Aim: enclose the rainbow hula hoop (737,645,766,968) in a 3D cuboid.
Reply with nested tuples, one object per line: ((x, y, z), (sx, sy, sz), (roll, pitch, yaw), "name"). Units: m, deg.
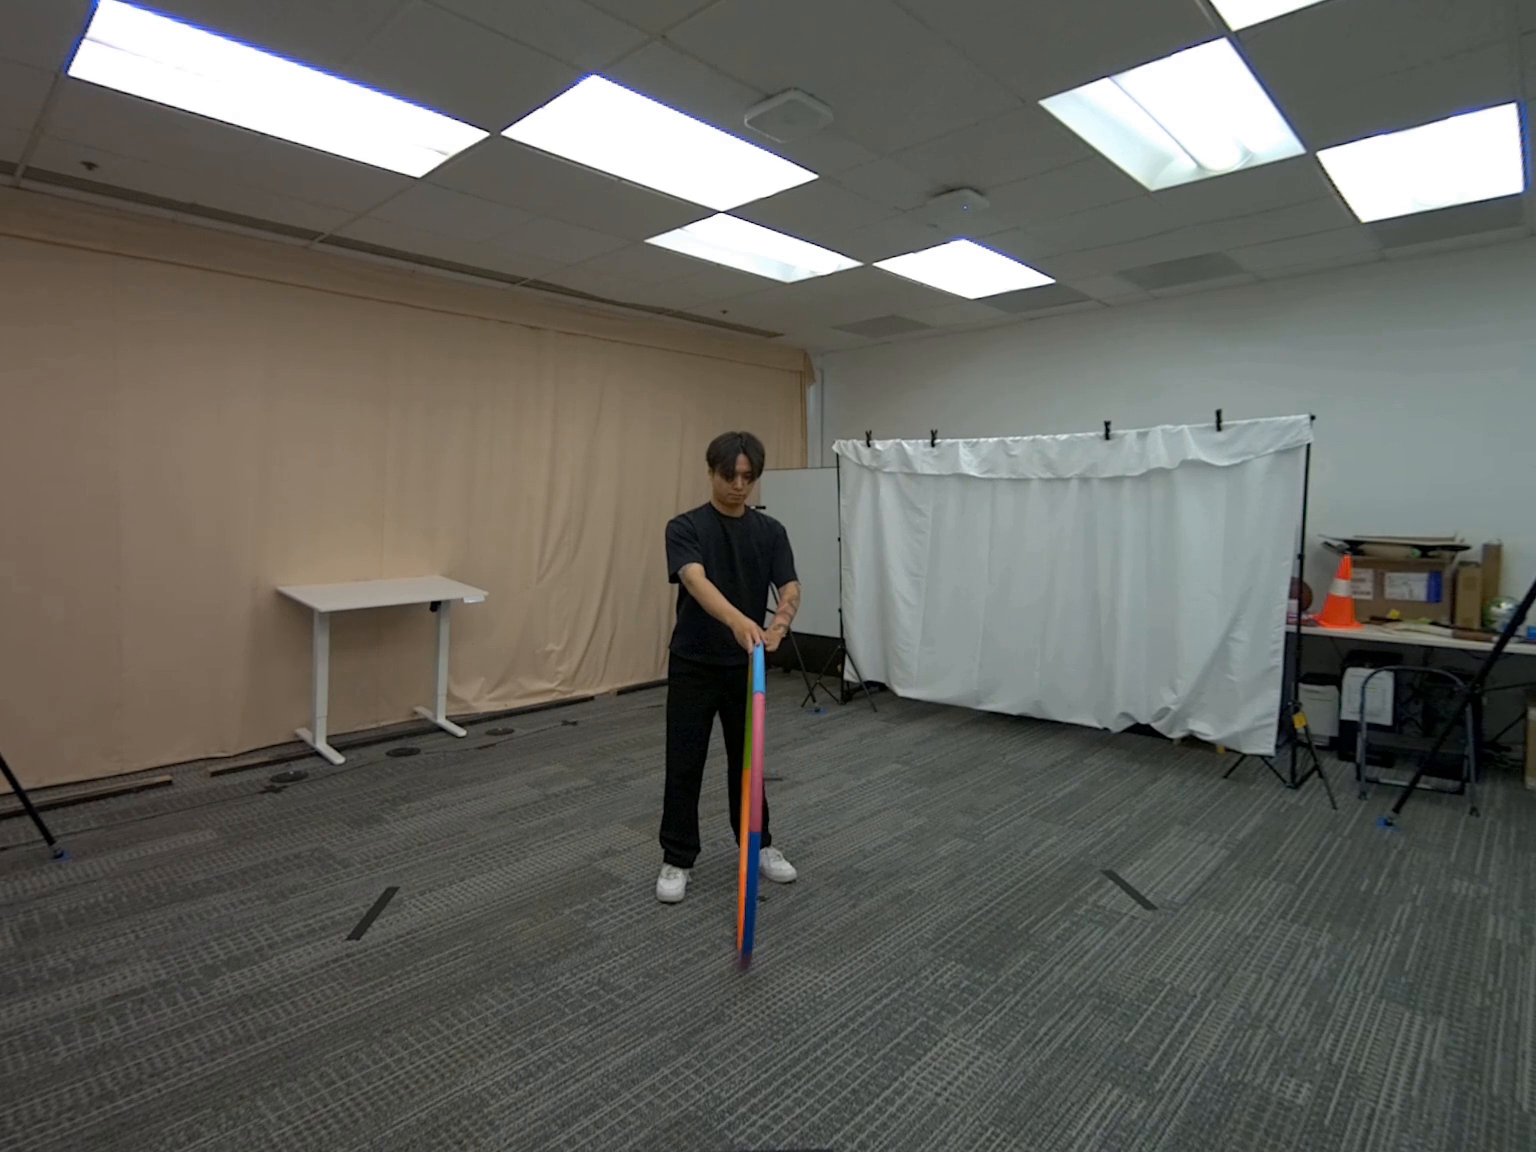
((-0.052, 0.687, 2.625), (0.035, 0.976, 0.979), (3, 4, 0), "rainbow hula hoop")
